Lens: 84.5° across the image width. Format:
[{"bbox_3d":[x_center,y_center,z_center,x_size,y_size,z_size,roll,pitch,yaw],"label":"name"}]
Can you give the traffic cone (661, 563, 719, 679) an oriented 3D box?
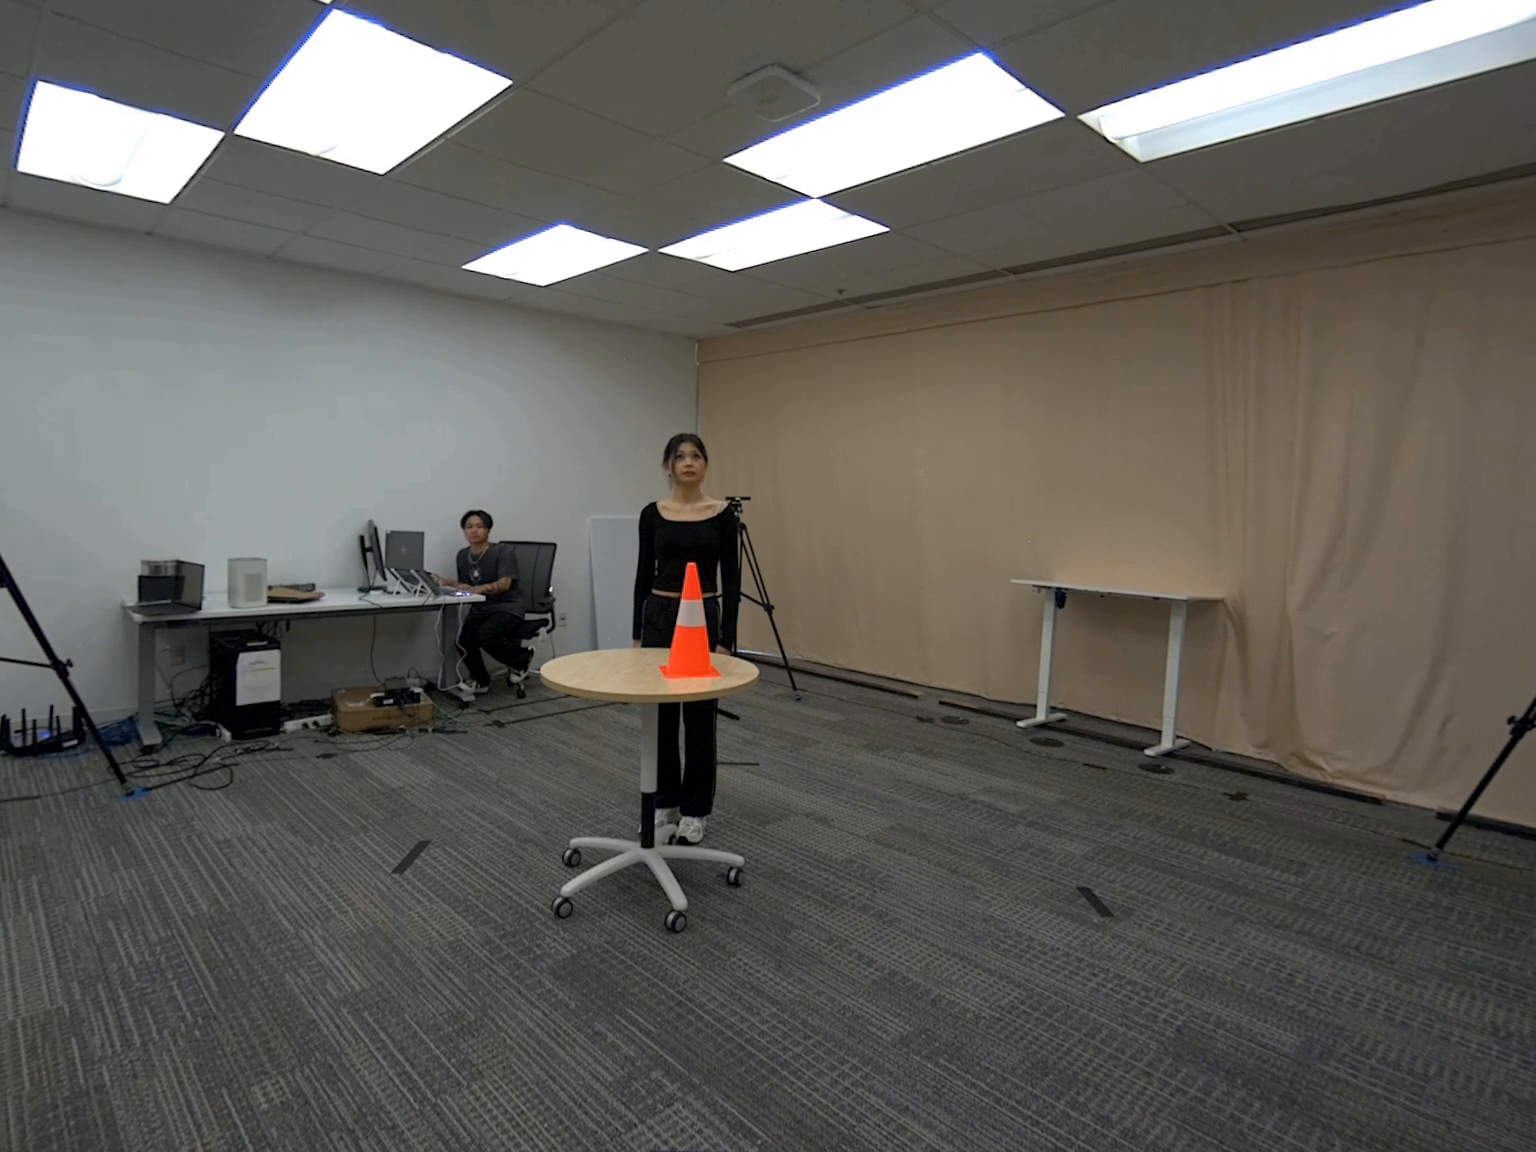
[{"bbox_3d":[-0.288,0.150,2.928,0.203,0.382,0.206,0,5,-11],"label":"traffic cone"}]
